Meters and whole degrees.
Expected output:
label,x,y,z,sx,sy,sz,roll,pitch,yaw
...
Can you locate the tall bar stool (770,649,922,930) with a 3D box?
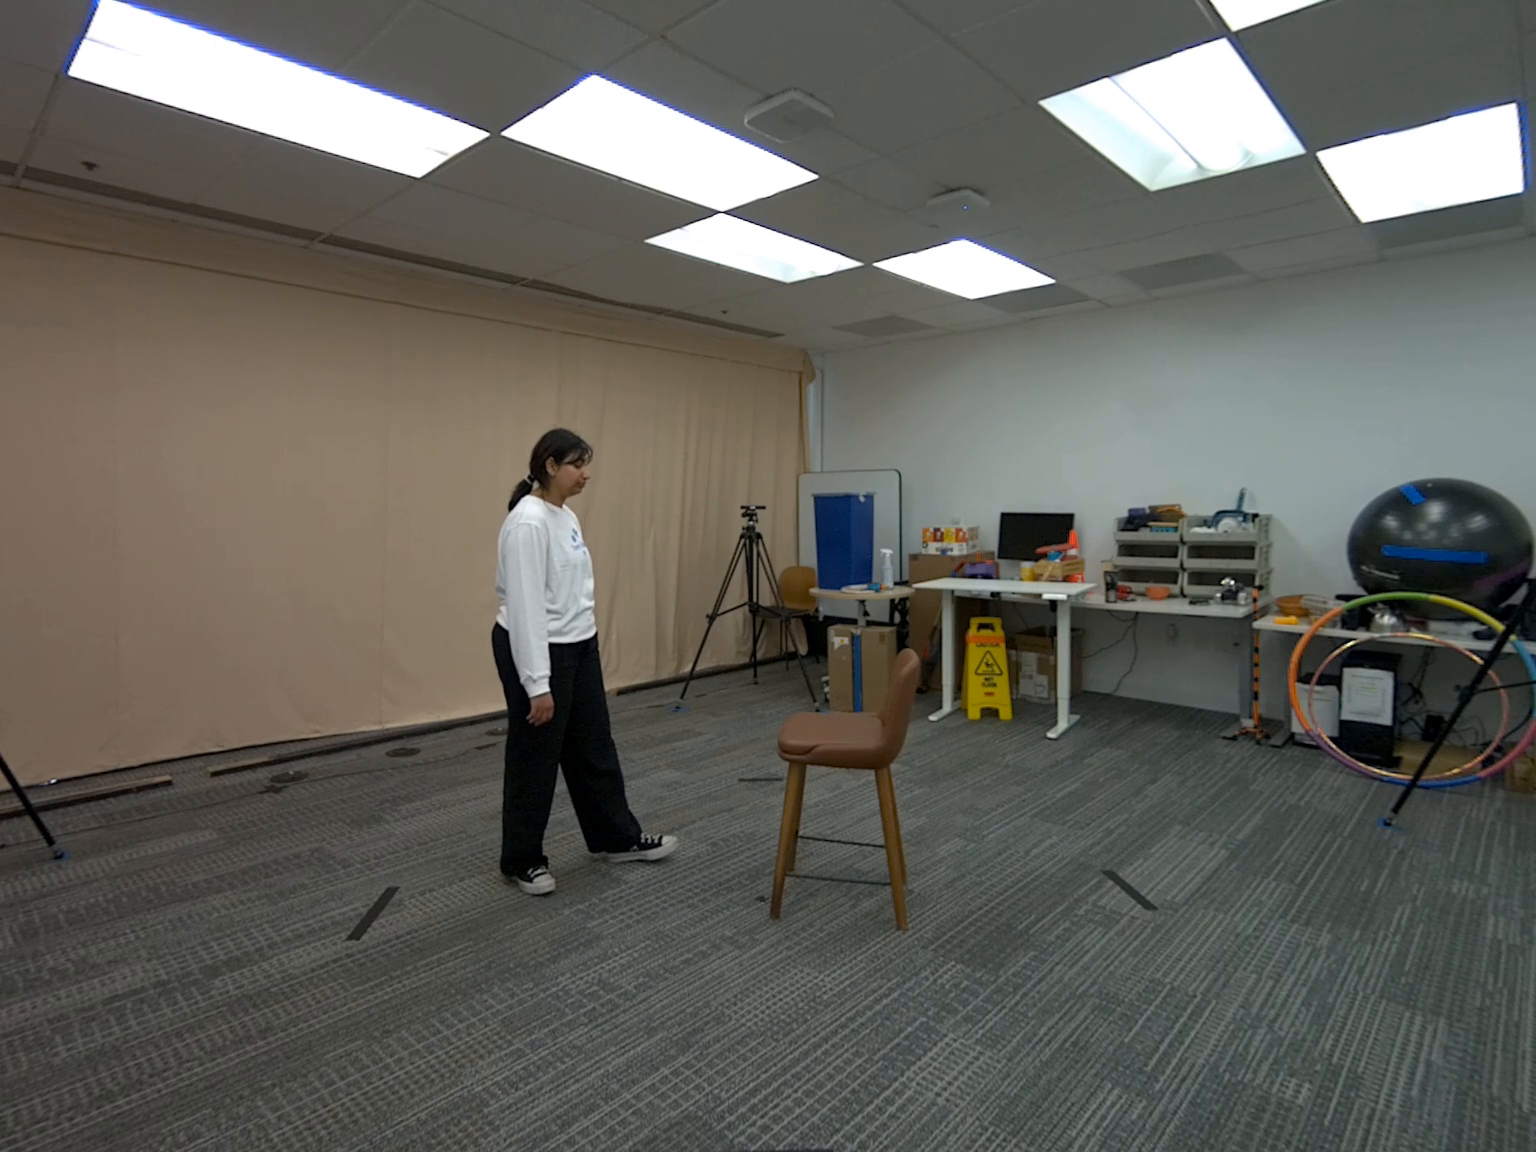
label,x,y,z,sx,sy,sz,roll,pitch,yaw
tall bar stool,0.274,0.712,2.957,0.474,0.888,0.451,3,4,12
